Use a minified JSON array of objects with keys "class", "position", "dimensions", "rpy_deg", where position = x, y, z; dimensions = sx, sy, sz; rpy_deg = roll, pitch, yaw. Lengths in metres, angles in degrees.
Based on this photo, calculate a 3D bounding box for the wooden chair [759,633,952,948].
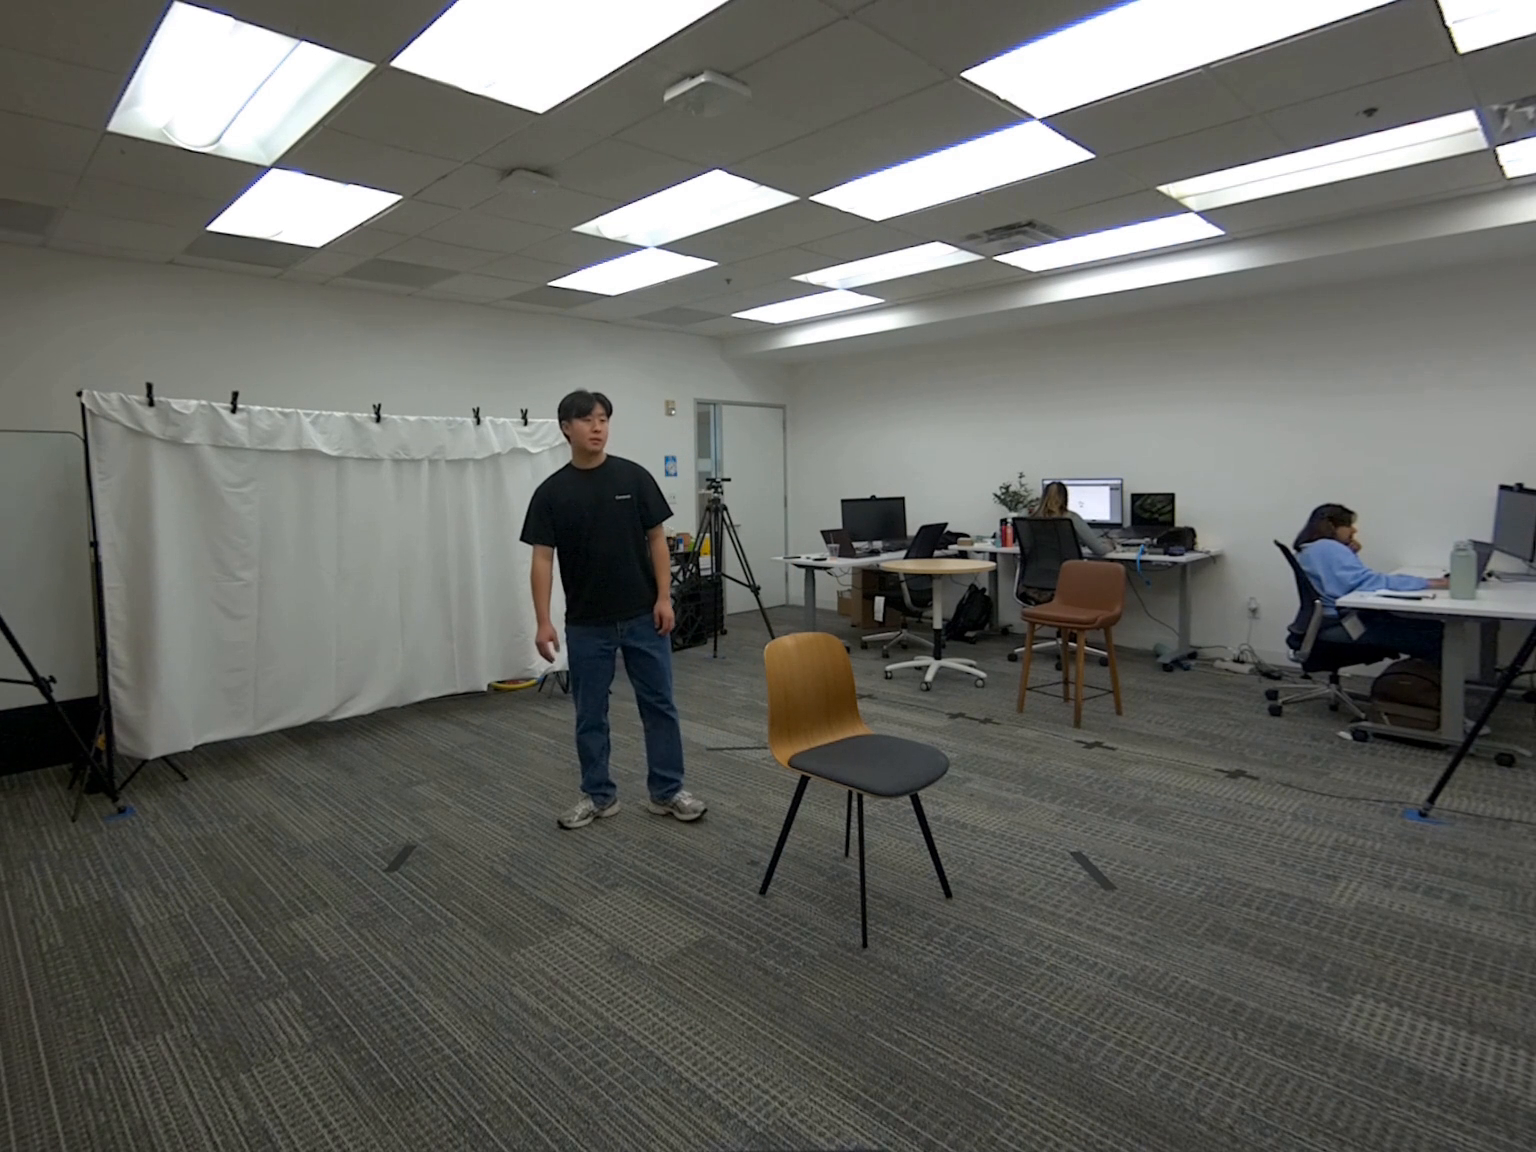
[{"class":"wooden chair","position":[0.291,0.643,2.805],"dimensions":[0.465,0.877,0.538],"rpy_deg":[-4,1,-43]}]
